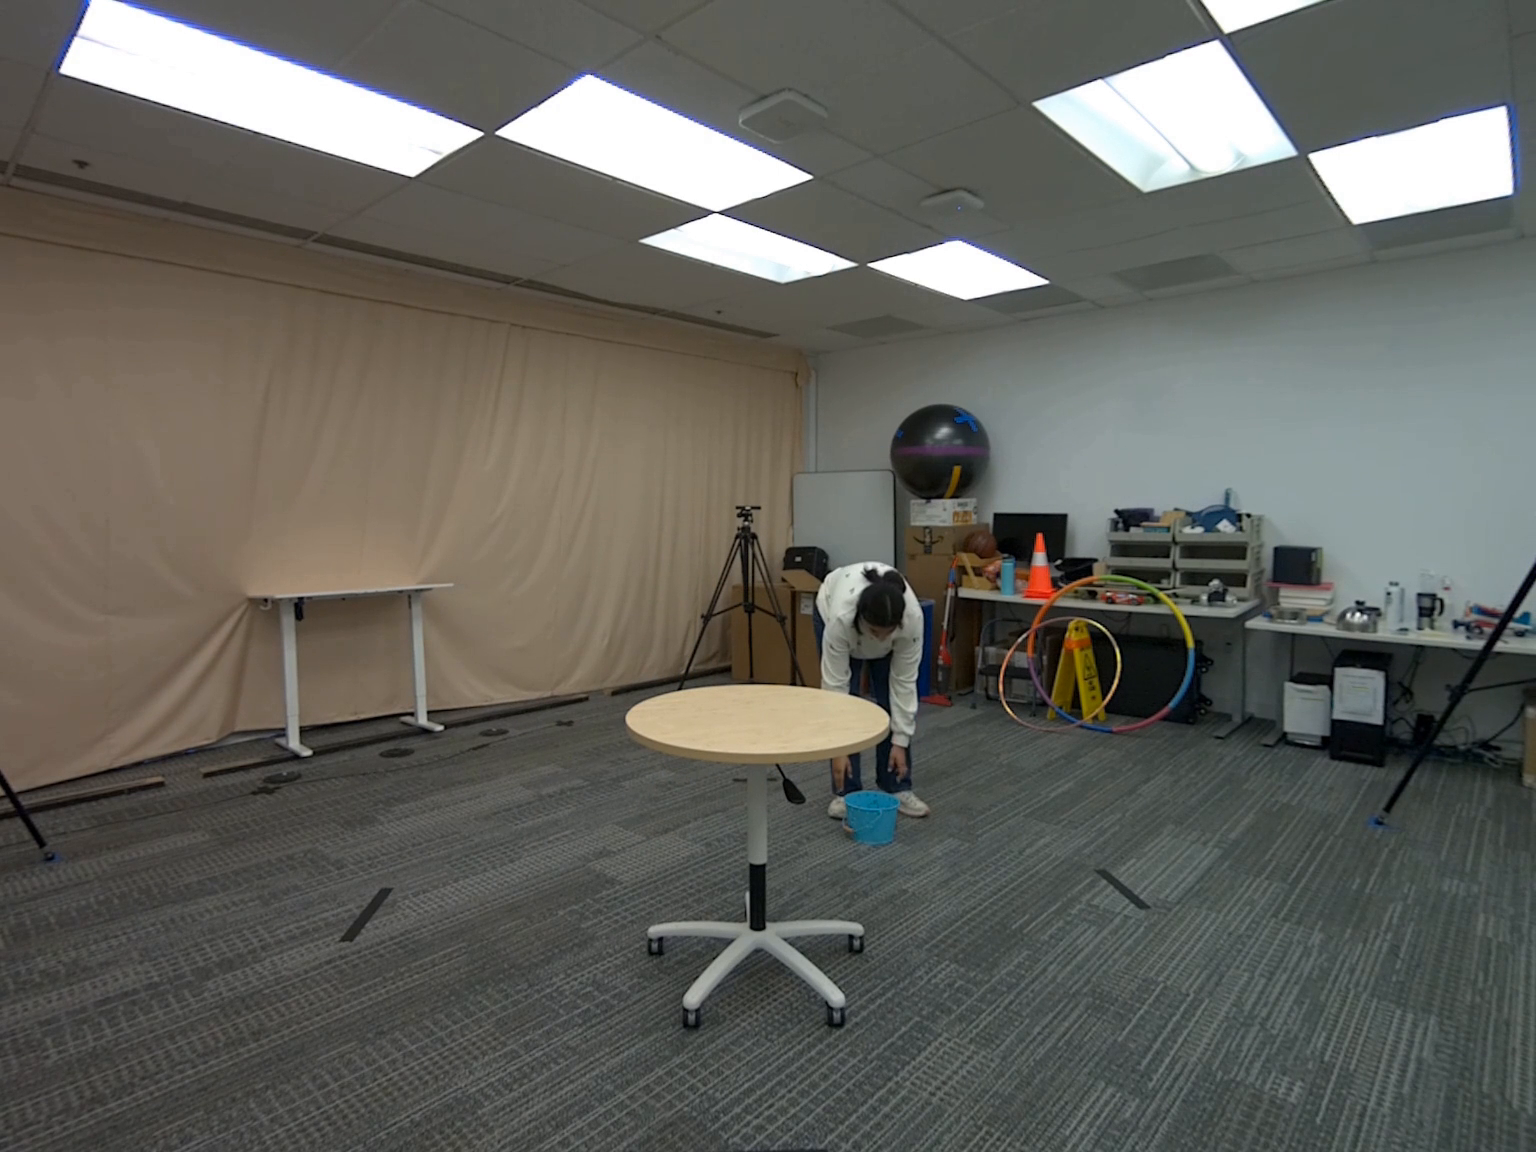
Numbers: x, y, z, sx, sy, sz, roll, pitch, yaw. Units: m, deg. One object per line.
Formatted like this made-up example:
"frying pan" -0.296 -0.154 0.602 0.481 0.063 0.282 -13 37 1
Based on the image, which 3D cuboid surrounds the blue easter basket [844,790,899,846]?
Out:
"blue easter basket" 0.429 1.012 3.558 0.243 0.155 0.244 1 4 -2
